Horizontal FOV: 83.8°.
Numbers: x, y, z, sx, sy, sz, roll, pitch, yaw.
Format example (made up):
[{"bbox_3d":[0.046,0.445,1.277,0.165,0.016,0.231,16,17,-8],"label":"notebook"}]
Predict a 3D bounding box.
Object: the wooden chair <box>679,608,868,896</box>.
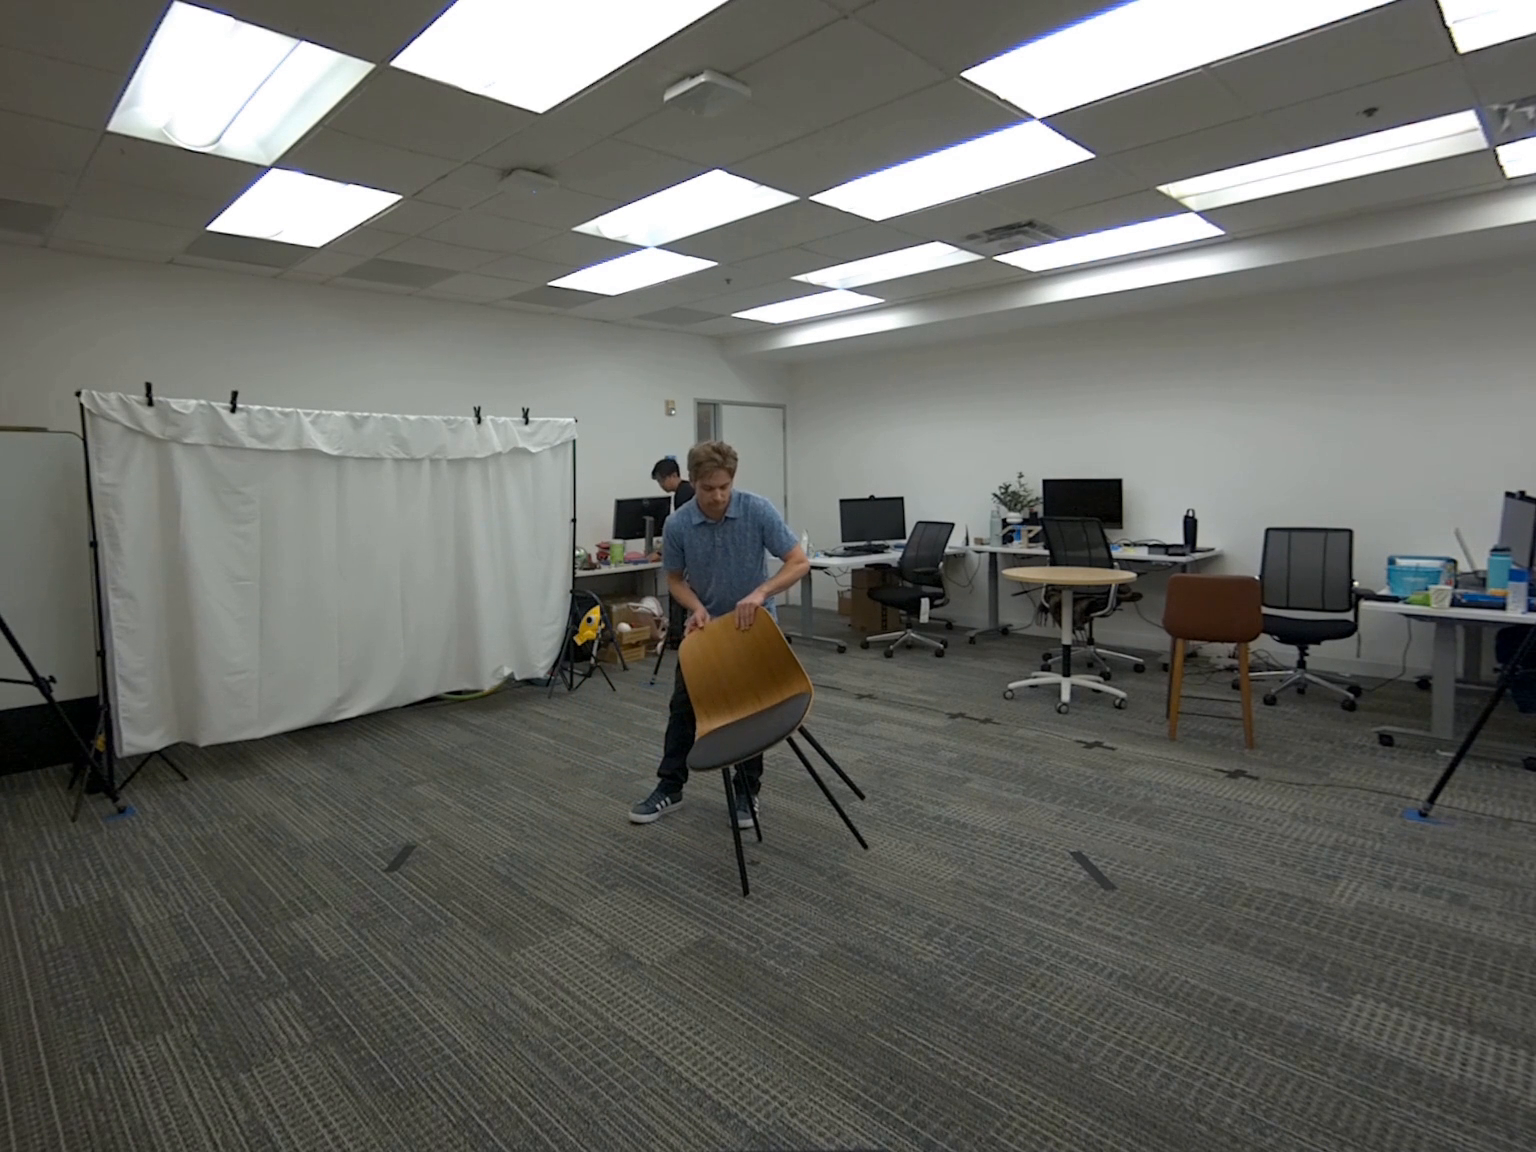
[{"bbox_3d":[-0.031,0.577,3.026,0.480,0.882,0.518,-25,-3,9],"label":"wooden chair"}]
